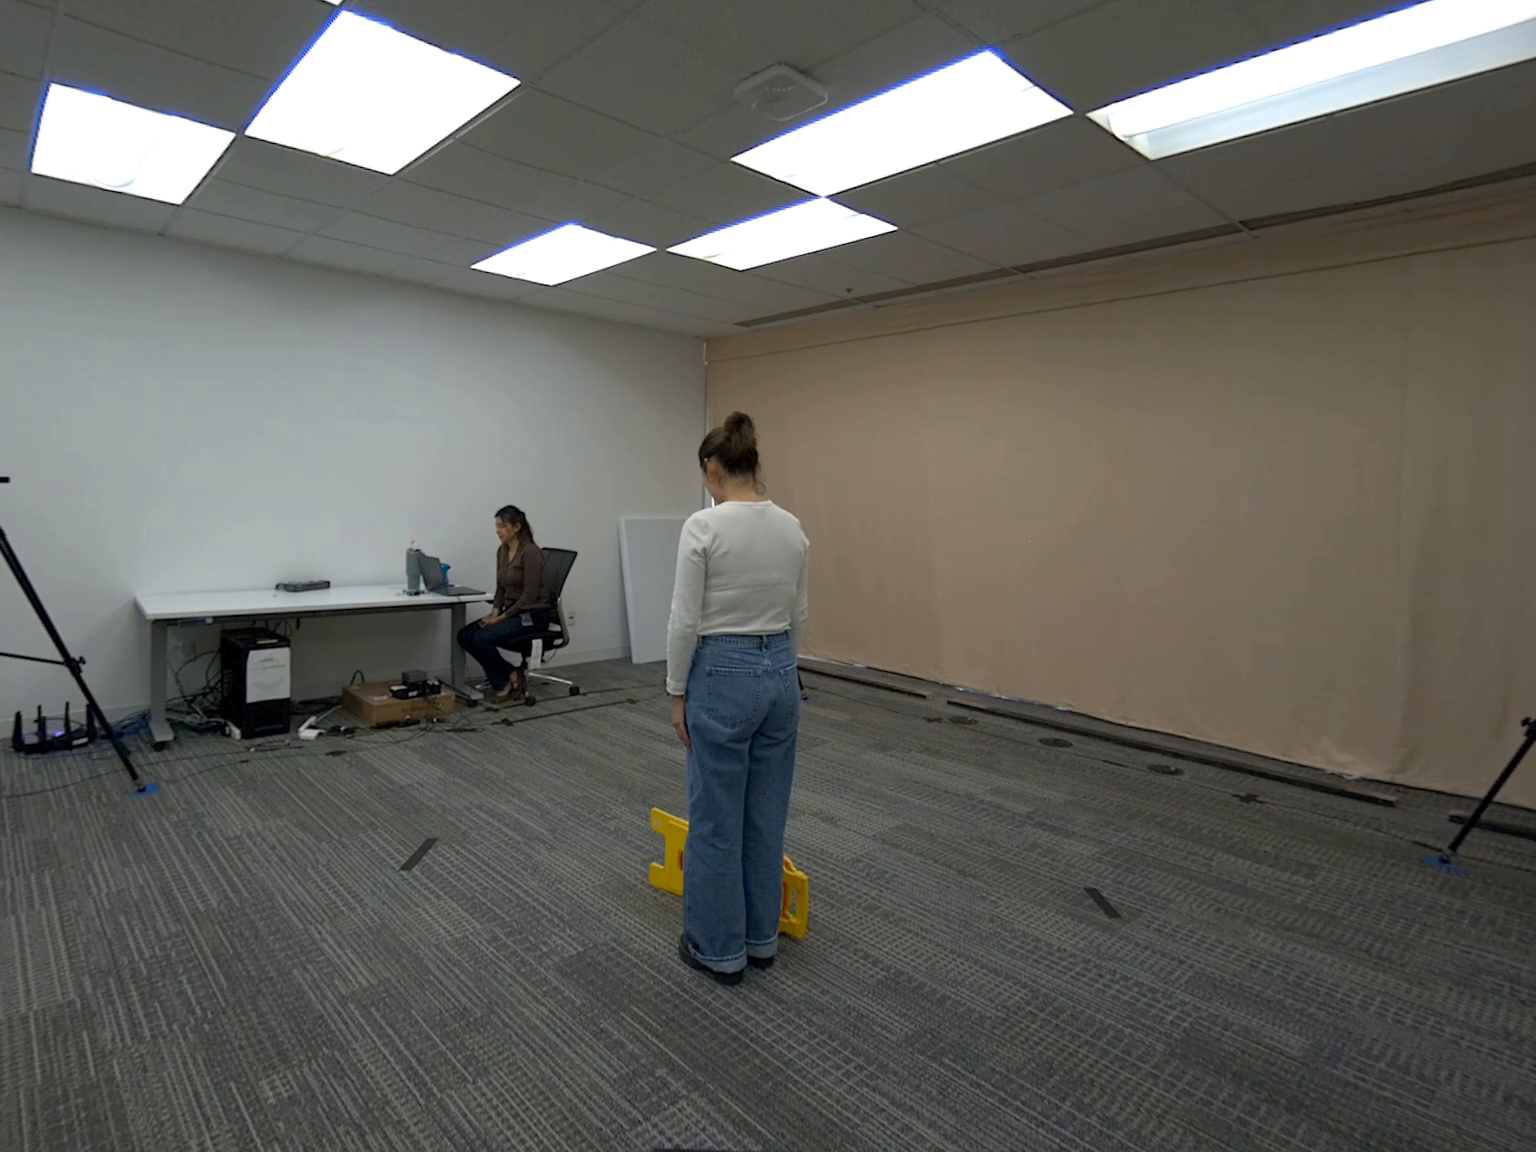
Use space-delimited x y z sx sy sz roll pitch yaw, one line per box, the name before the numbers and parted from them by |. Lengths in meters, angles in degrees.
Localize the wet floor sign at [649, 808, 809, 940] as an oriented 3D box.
wet floor sign | -0.109 0.999 2.855 0.283 0.281 0.663 -4 9 -42
